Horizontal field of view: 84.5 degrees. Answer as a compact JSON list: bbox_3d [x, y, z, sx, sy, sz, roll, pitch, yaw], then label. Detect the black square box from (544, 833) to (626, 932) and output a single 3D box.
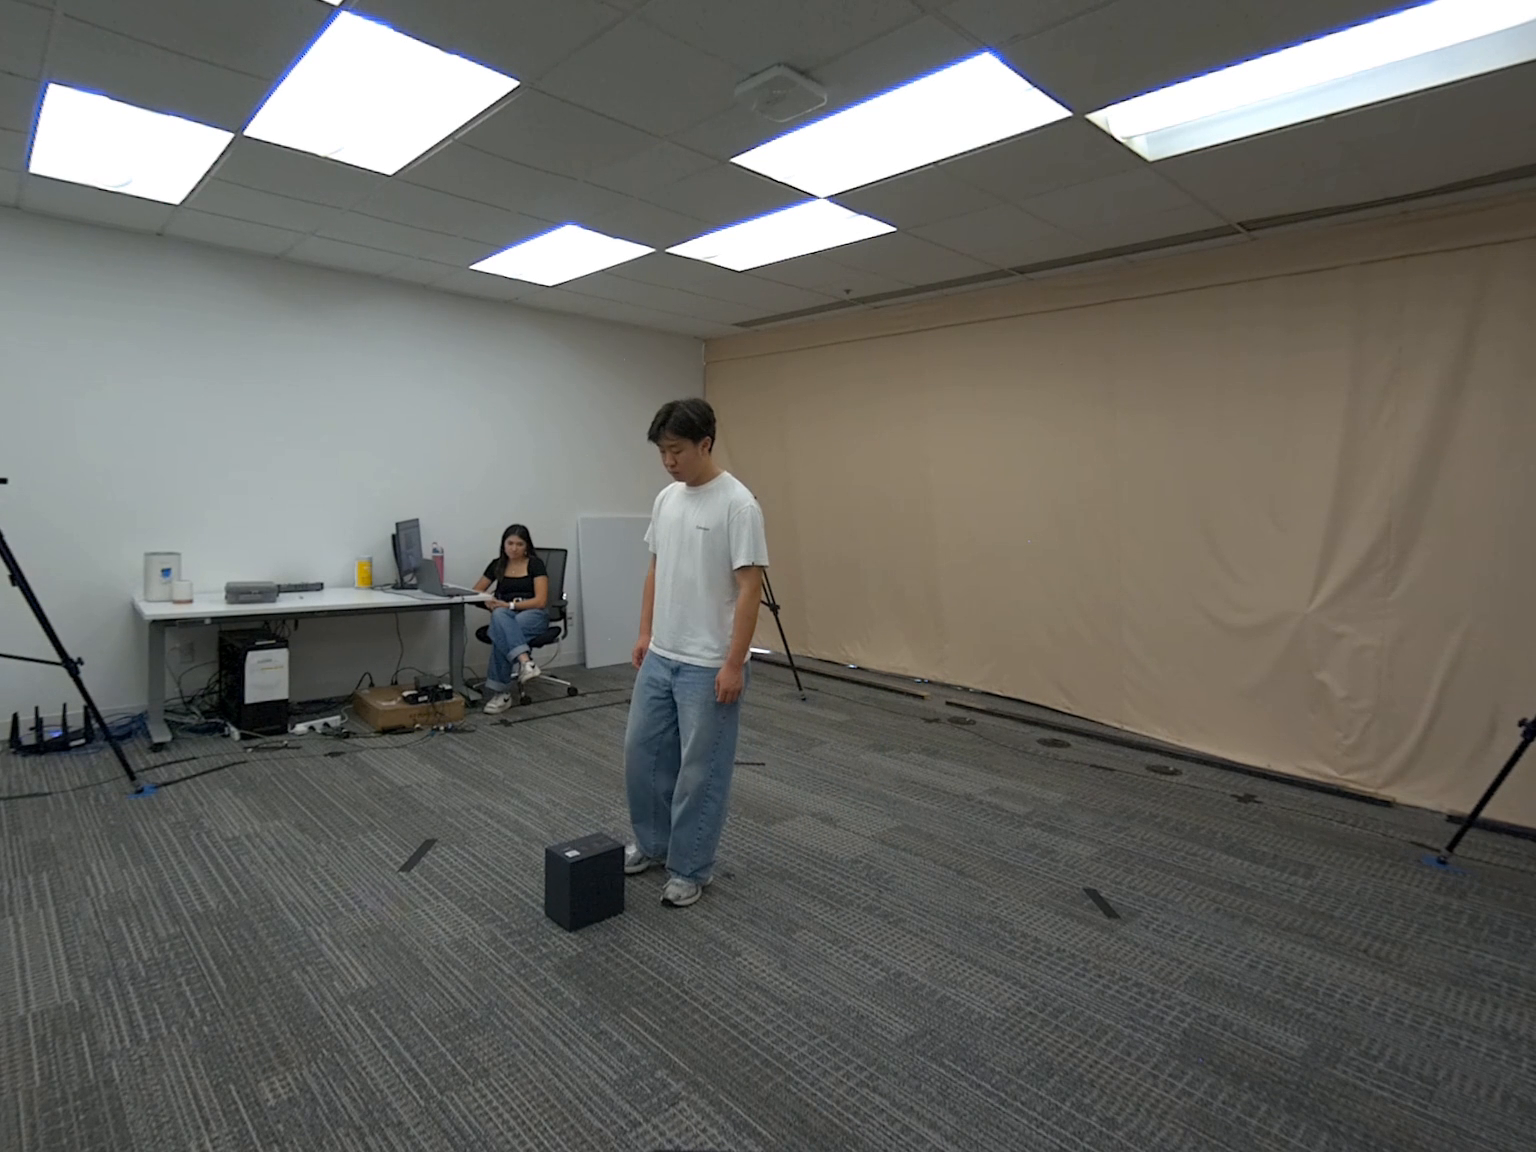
[{"bbox_3d":[-0.610,1.007,2.785,0.212,0.227,0.160,-2,5,-44],"label":"black square box"}]
